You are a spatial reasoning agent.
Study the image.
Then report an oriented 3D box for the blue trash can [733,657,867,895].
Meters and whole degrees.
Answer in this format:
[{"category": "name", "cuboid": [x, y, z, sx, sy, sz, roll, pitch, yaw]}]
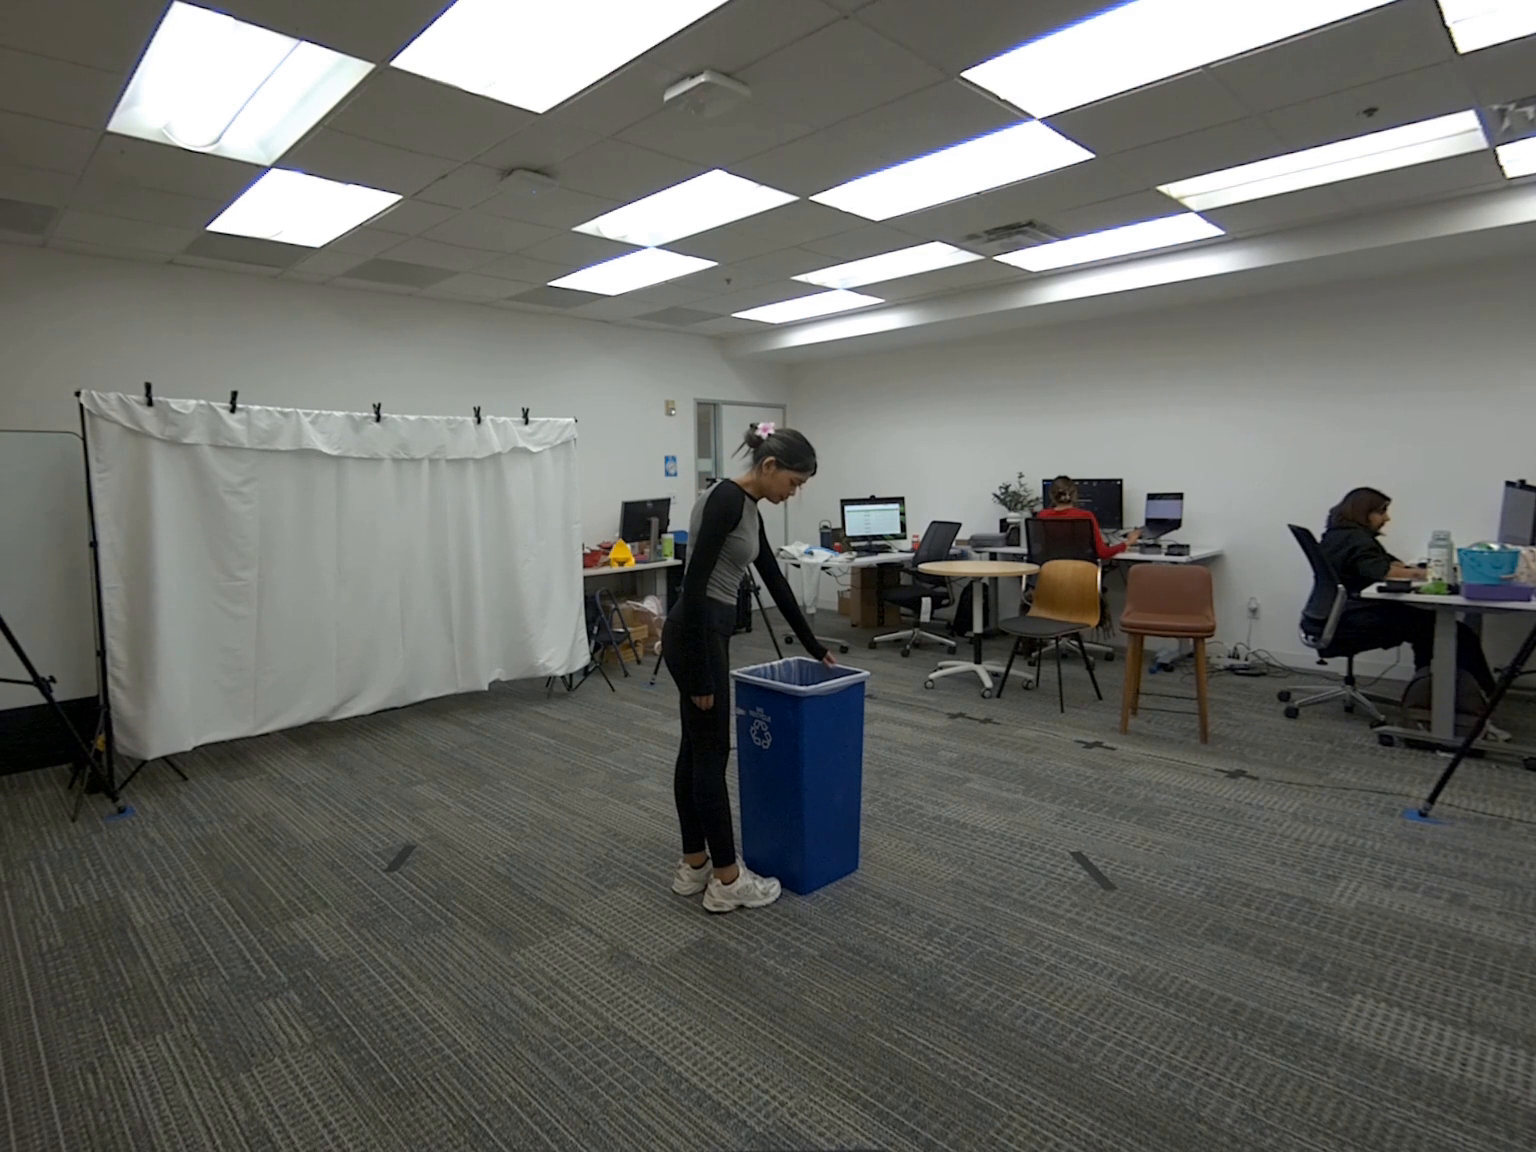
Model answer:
[{"category": "blue trash can", "cuboid": [0.125, 0.690, 3.032, 0.368, 0.711, 0.385, -4, 5, -43]}]
